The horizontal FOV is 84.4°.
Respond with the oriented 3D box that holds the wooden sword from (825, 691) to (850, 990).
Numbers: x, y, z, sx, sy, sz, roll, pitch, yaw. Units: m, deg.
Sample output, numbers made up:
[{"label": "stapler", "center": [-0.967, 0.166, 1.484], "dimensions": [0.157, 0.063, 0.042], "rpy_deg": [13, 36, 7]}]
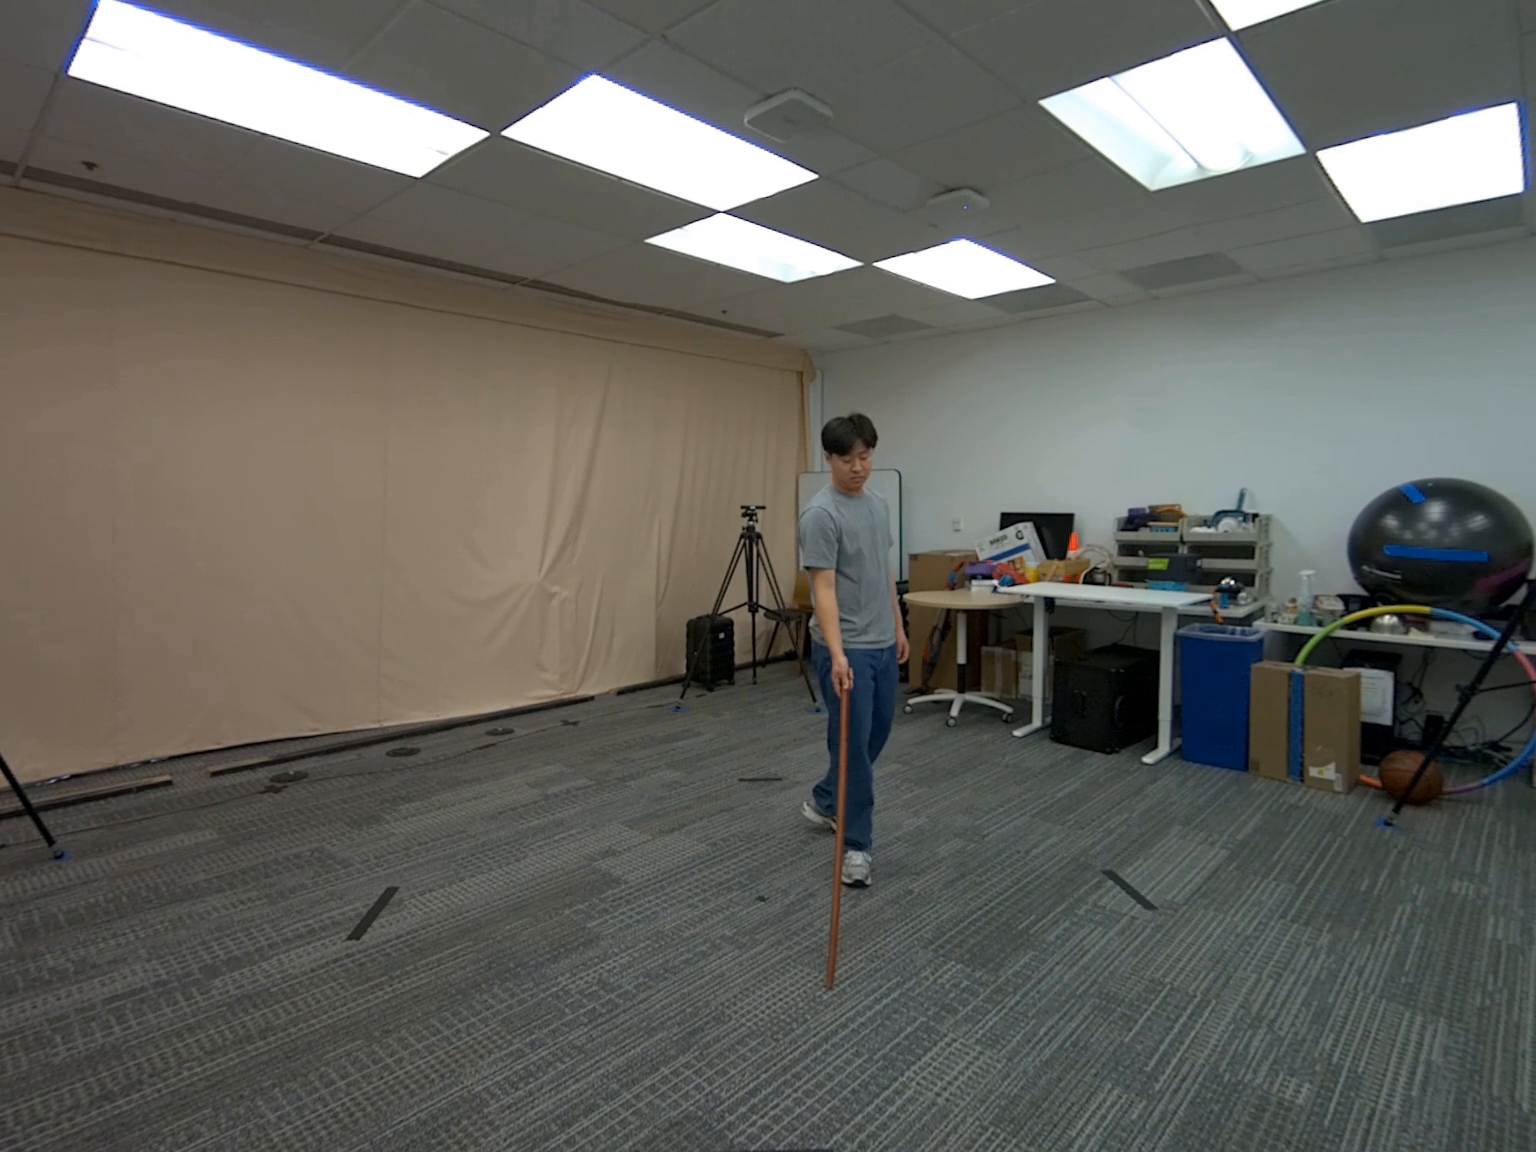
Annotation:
[{"label": "wooden sword", "center": [0.253, 0.782, 2.701], "dimensions": [0.023, 1.037, 0.051], "rpy_deg": [19, -35, -16]}]
